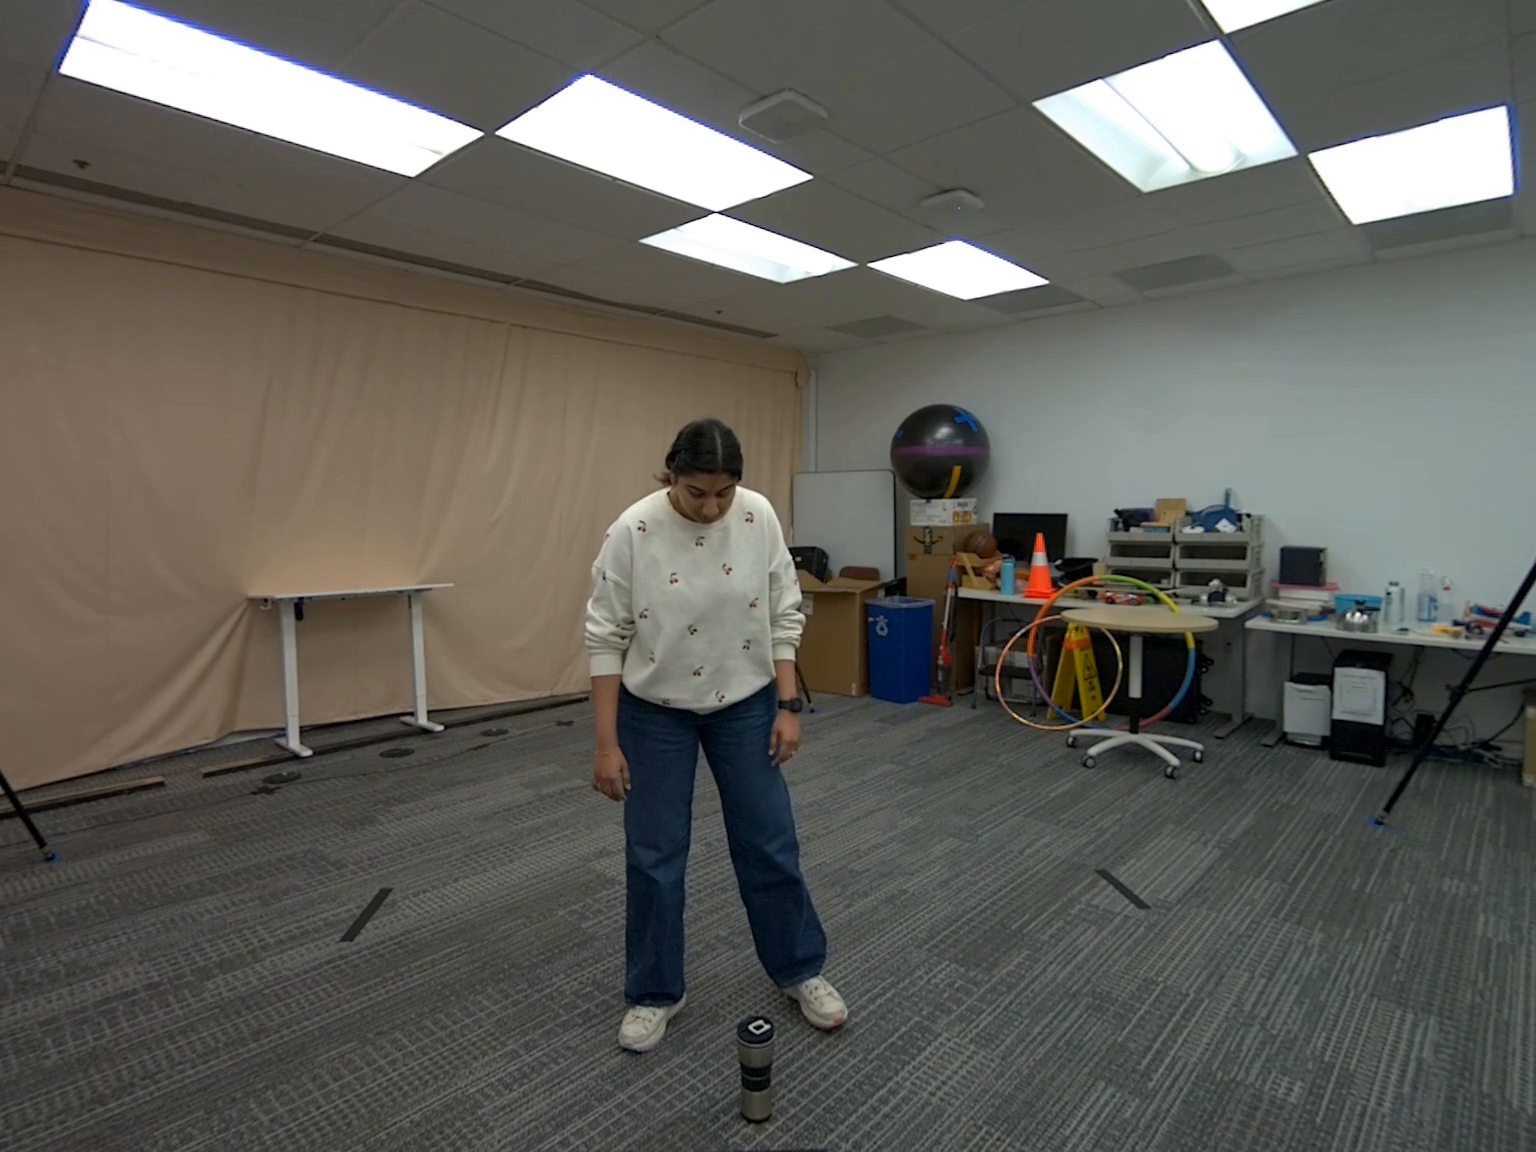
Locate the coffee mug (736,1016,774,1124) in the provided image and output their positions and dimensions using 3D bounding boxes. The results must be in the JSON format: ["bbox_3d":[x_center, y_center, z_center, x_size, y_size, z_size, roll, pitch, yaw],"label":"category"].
[{"bbox_3d":[-0.016,1.128,1.943,0.090,0.202,0.118,-3,4,38],"label":"coffee mug"}]
